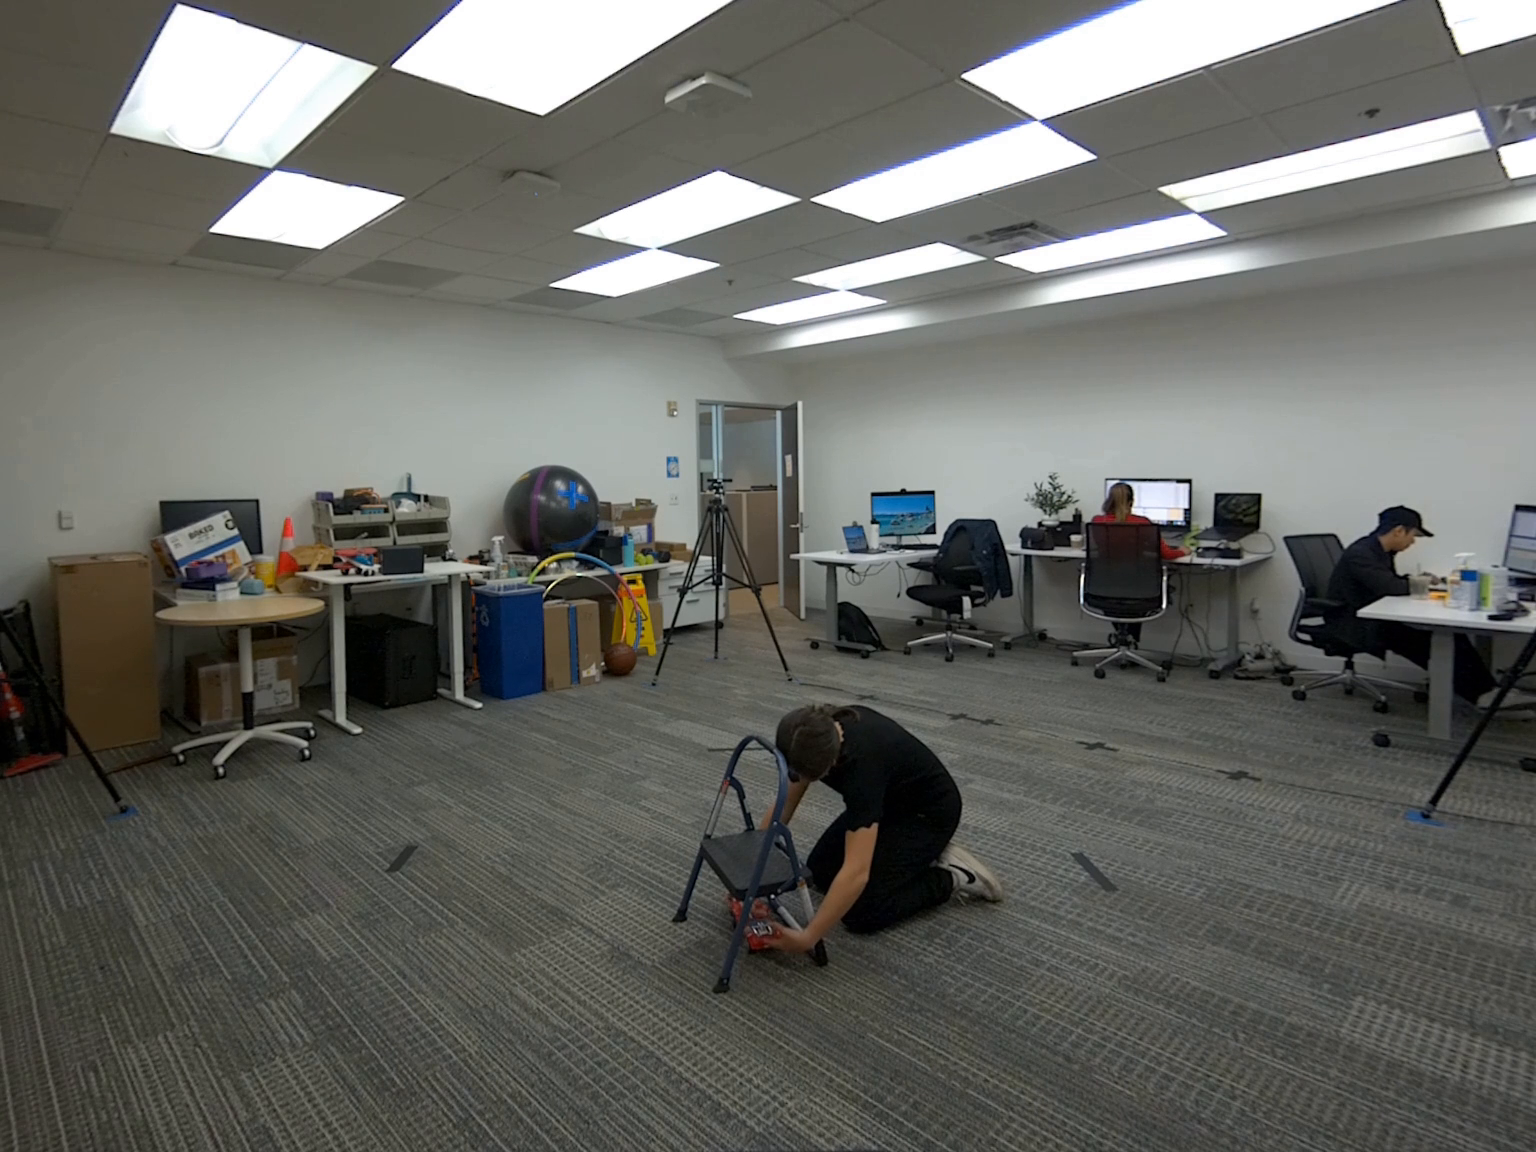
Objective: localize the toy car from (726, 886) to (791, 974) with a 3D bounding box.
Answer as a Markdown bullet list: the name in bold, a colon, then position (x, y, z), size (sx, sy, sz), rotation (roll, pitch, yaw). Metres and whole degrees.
- **toy car**: position (-0.035, 1.078, 2.628), size (0.129, 0.082, 0.261), rotation (-6, 18, -15)
